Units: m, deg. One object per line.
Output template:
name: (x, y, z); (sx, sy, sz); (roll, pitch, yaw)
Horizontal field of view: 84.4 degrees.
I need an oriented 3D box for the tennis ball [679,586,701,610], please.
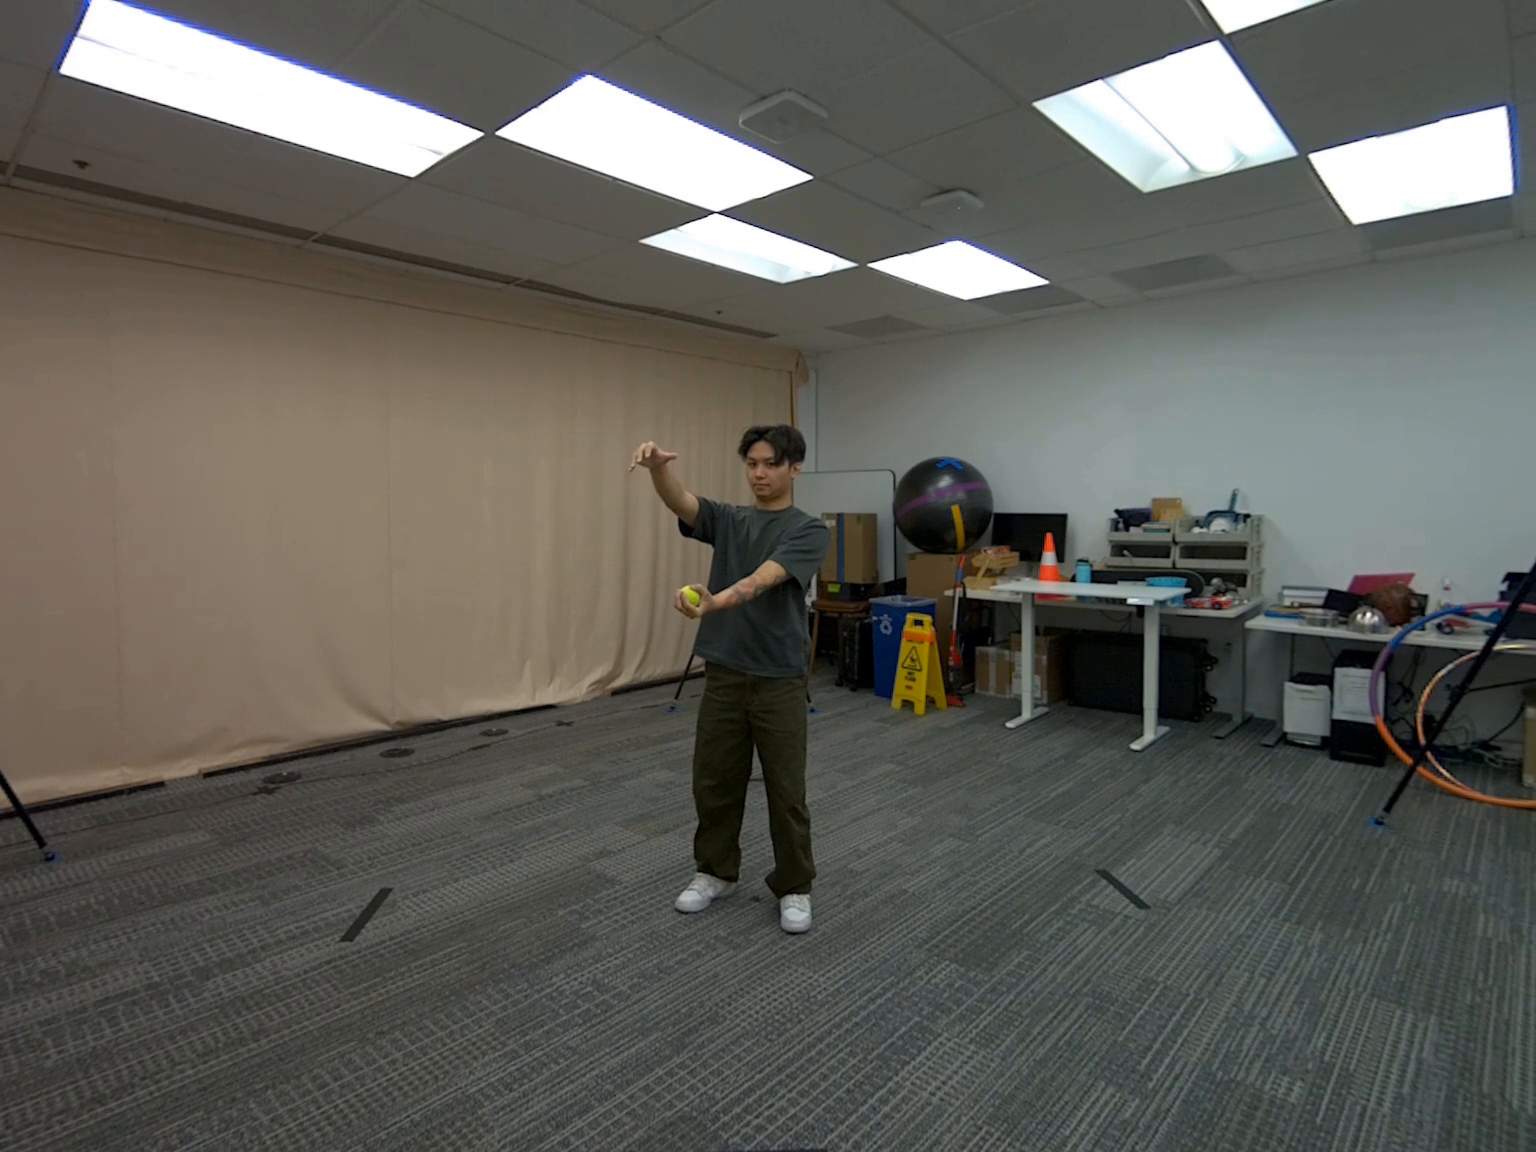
tennis ball: (-0.226, 0.053, 2.456); (0.066, 0.066, 0.067); (0, 4, -2)
